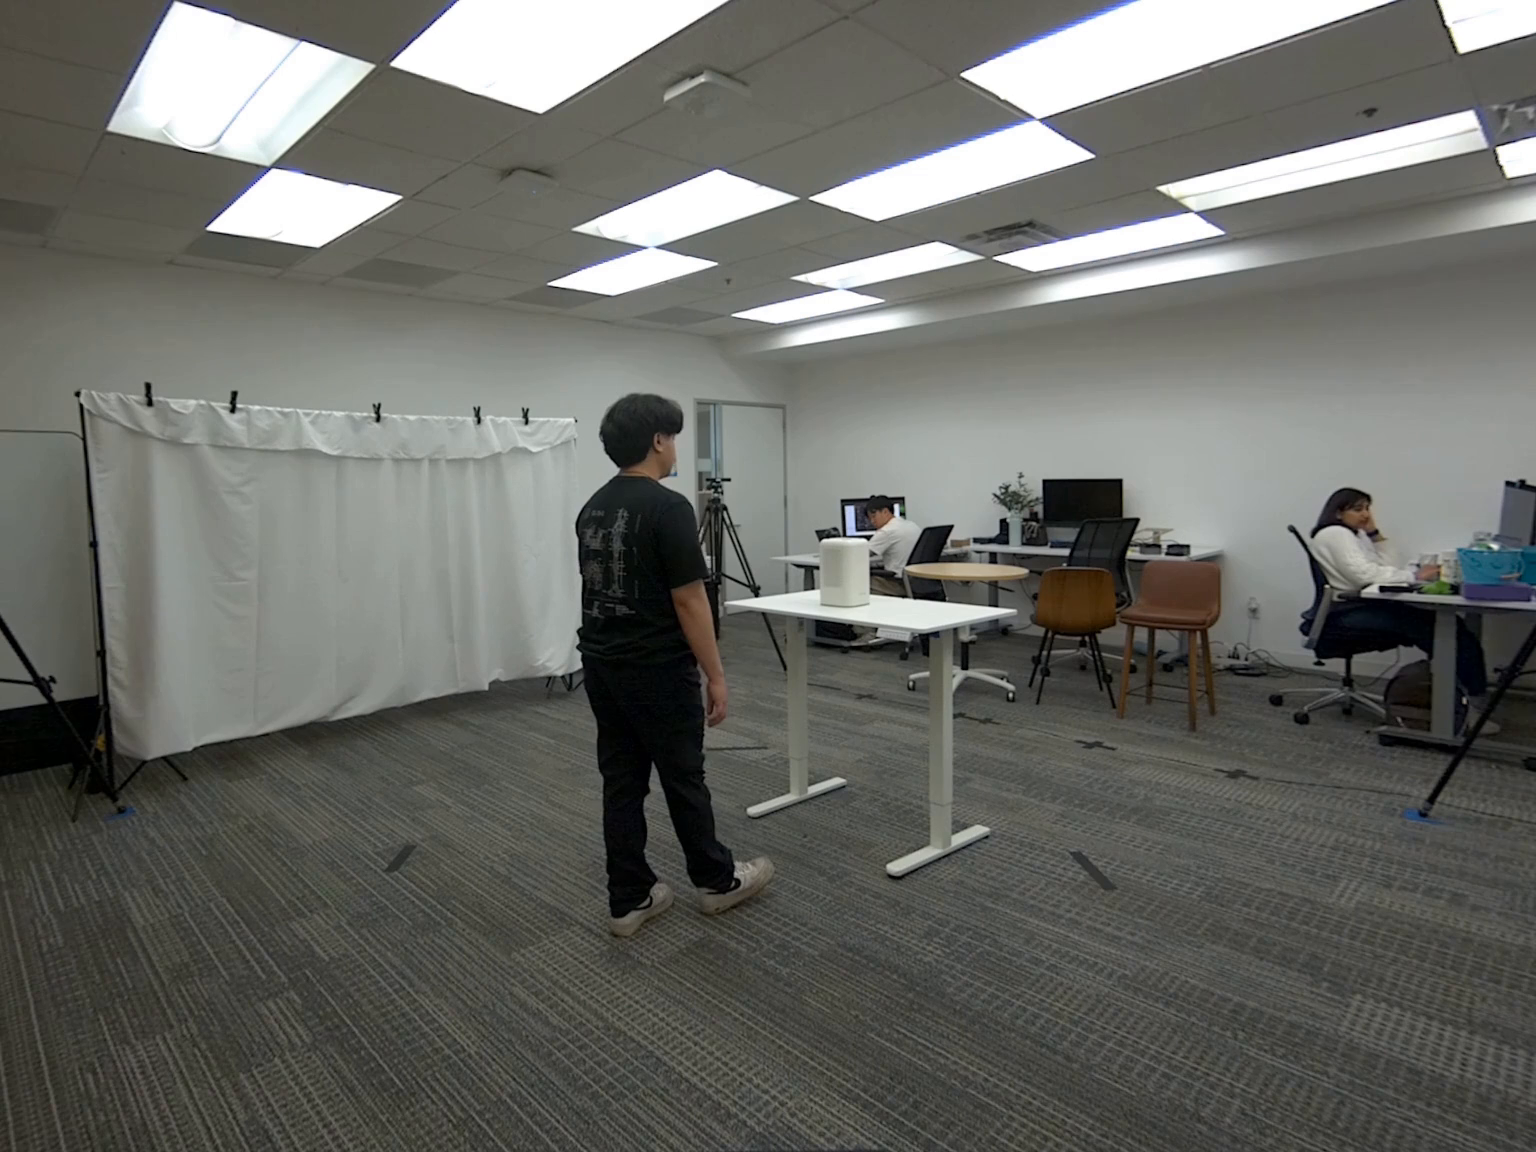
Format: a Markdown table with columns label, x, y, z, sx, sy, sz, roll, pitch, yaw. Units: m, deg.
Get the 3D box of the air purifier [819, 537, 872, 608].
| label | x | y | z | sx | sy | sz | roll | pitch | yaw |
| --- | --- | --- | --- | --- | --- | --- | --- | --- | --- |
| air purifier | 0.315 | -0.019 | 3.446 | 0.177 | 0.264 | 0.166 | 3 | 5 | 43 |
